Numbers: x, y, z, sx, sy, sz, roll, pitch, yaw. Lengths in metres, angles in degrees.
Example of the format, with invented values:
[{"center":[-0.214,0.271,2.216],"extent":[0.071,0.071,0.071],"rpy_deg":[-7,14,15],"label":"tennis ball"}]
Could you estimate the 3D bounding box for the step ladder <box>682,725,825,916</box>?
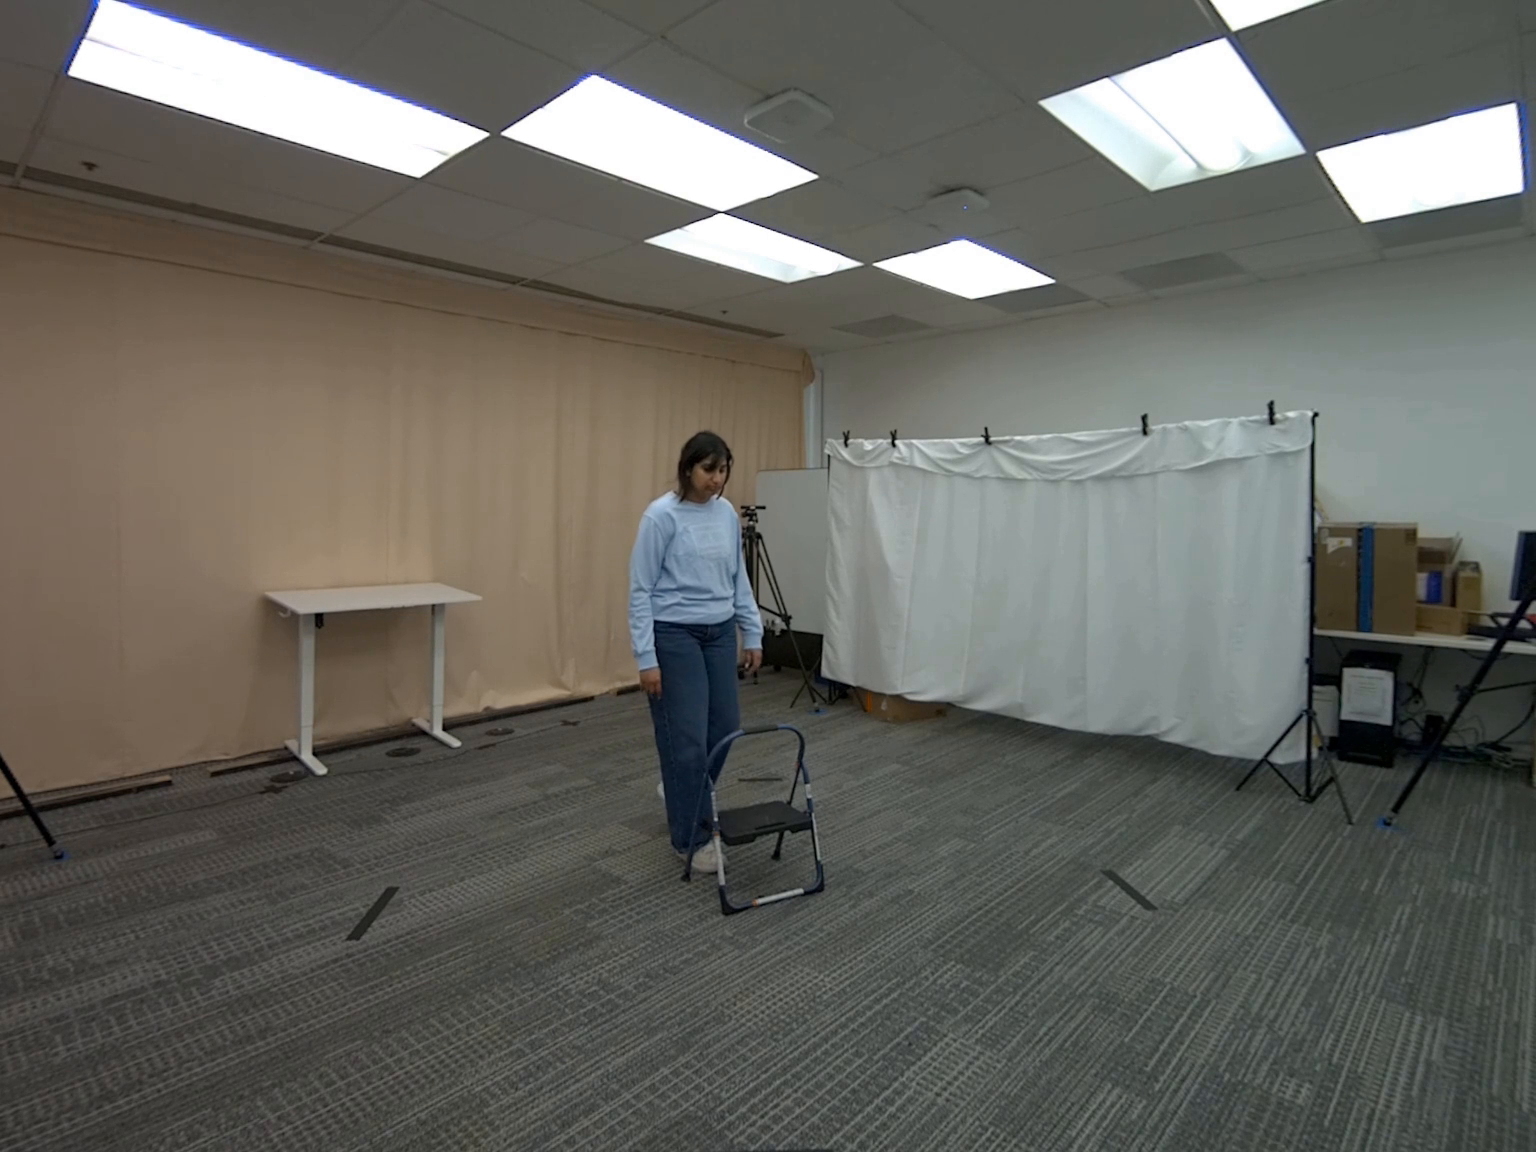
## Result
[{"center":[-0.059,0.830,3.081],"extent":[0.419,0.605,0.359],"rpy_deg":[-3,4,-30],"label":"step ladder"}]
